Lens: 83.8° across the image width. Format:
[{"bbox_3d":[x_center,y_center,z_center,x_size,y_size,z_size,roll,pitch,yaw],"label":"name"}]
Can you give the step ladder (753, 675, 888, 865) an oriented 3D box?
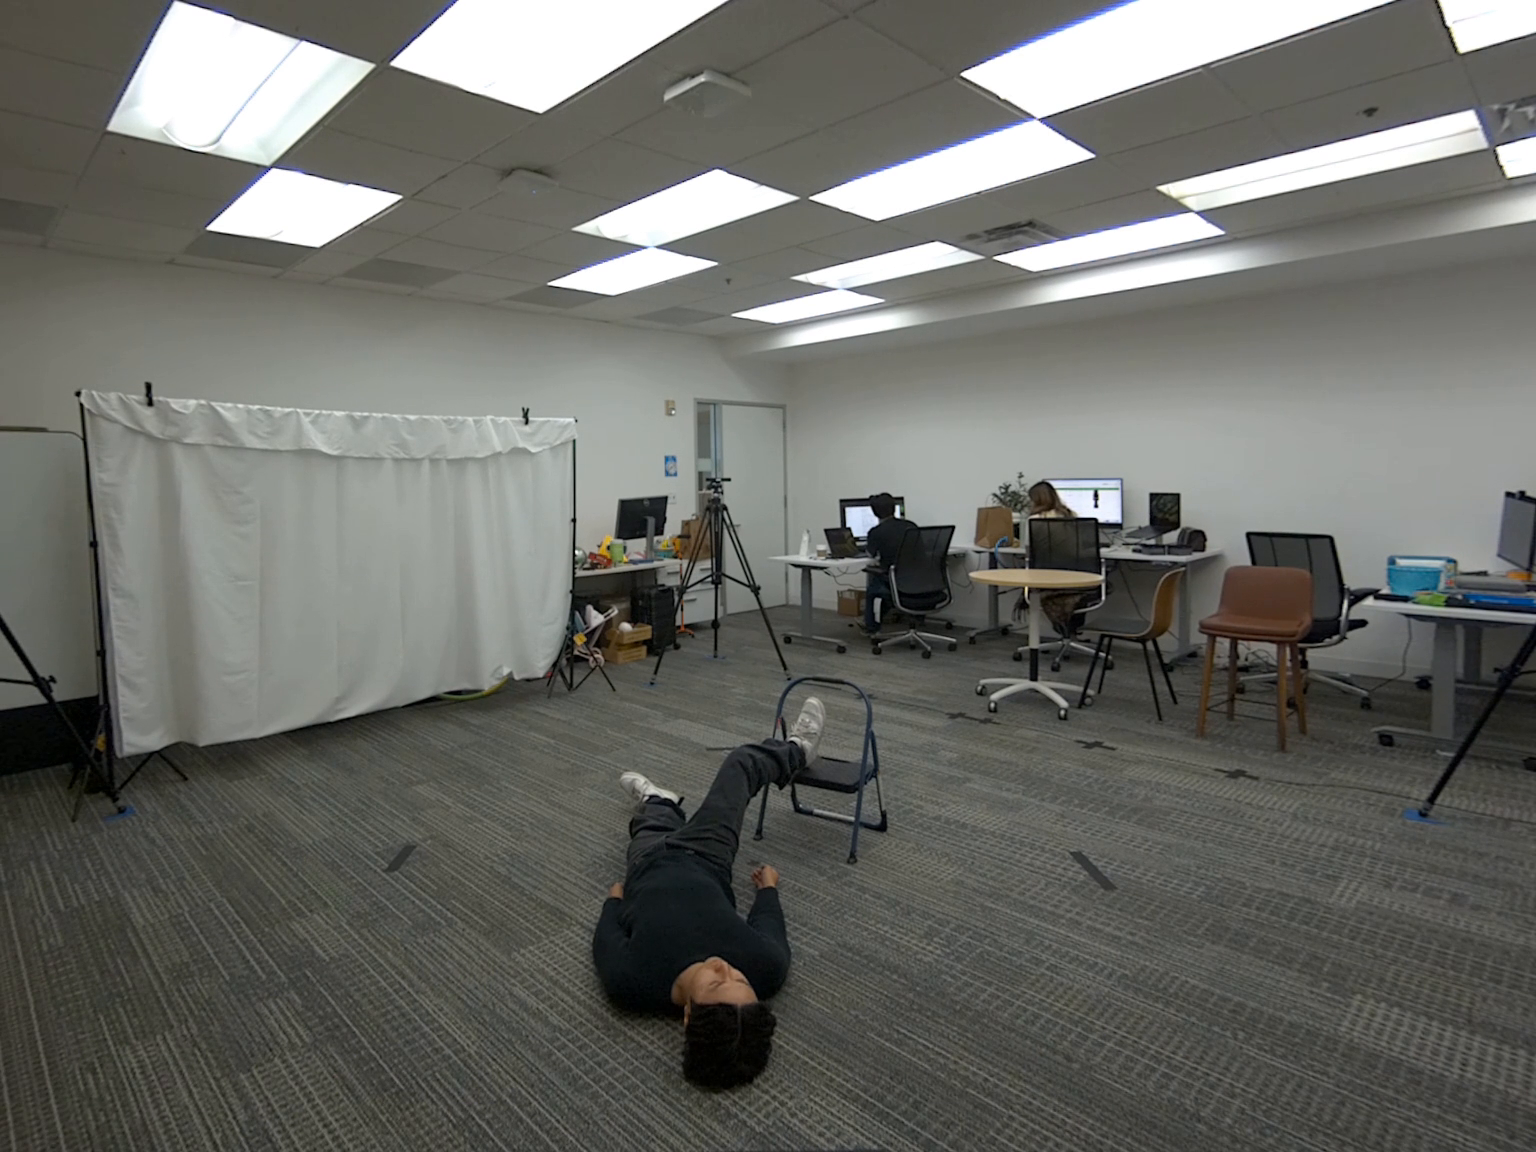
[{"bbox_3d":[0.211,0.712,3.322,0.442,0.604,0.341,2,5,32],"label":"step ladder"}]
